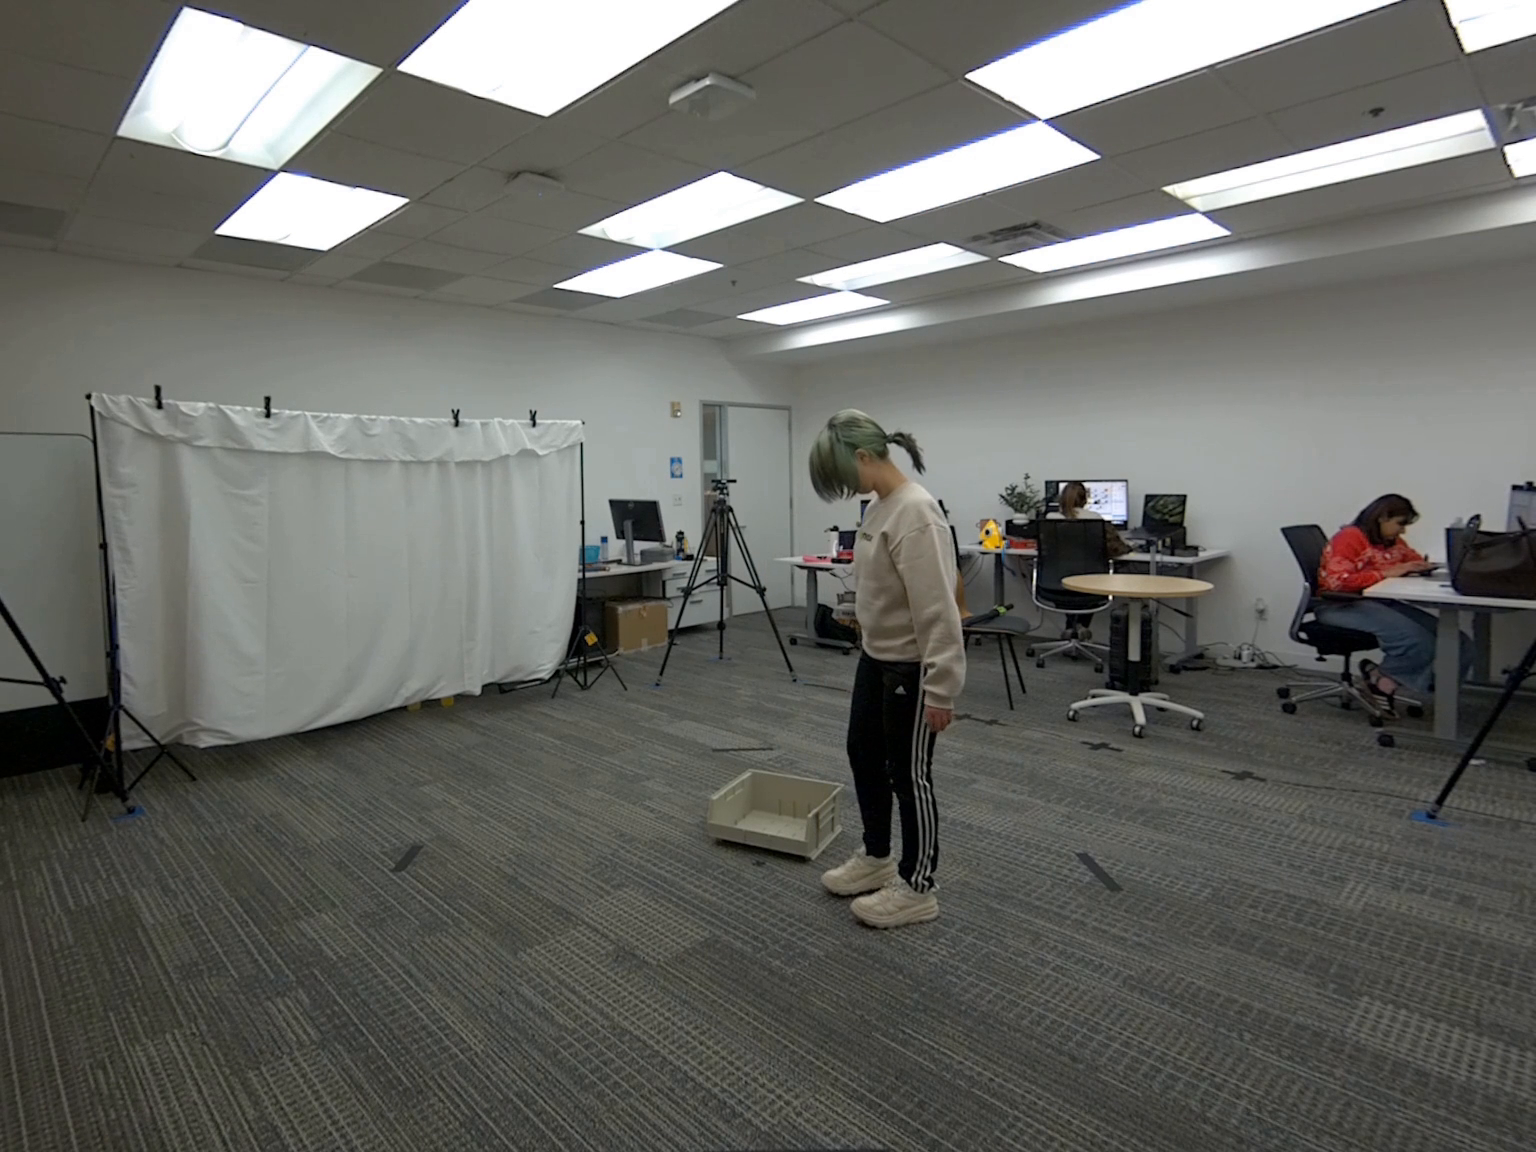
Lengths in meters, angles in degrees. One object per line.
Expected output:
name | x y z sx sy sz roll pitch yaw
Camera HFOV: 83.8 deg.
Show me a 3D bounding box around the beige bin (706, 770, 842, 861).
beige bin | 0.036 0.932 3.337 0.432 0.188 0.370 2 6 26
